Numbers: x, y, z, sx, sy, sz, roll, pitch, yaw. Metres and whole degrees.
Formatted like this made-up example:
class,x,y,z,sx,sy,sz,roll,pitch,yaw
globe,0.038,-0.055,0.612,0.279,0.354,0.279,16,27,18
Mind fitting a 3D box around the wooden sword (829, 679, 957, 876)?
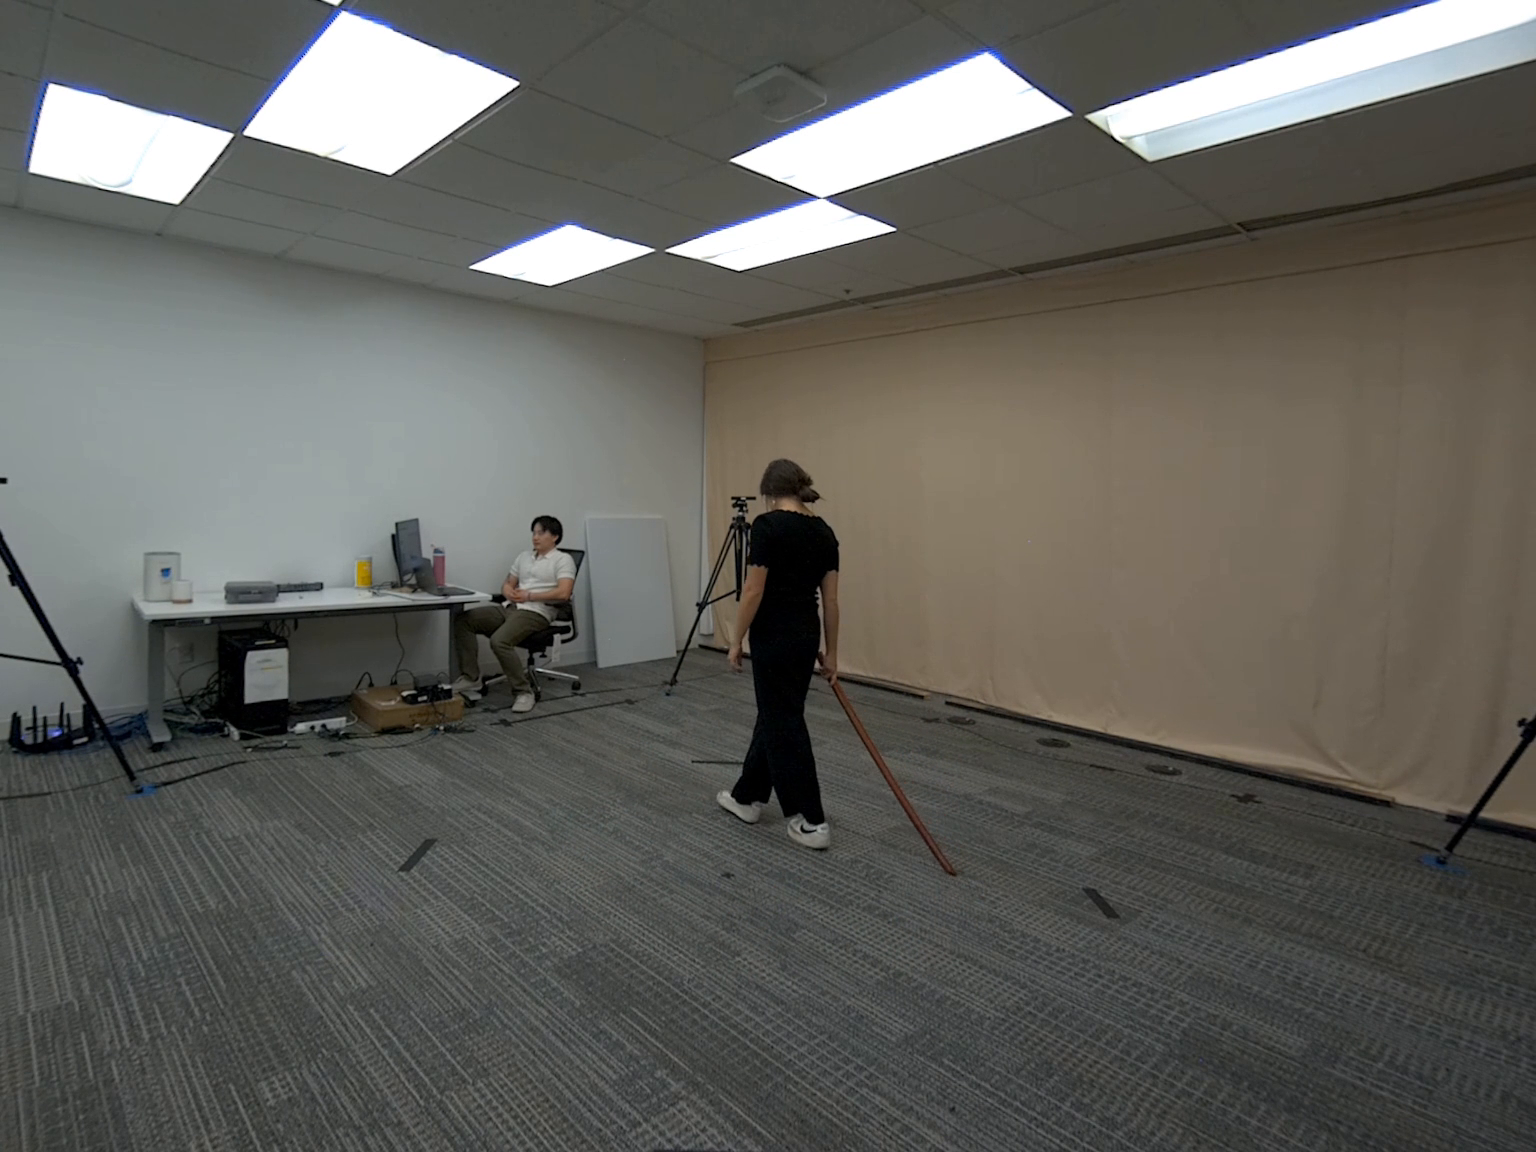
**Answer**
class,x,y,z,sx,sy,sz,roll,pitch,yaw
wooden sword,0.438,0.744,3.413,0.051,1.053,0.023,-20,-33,-22
